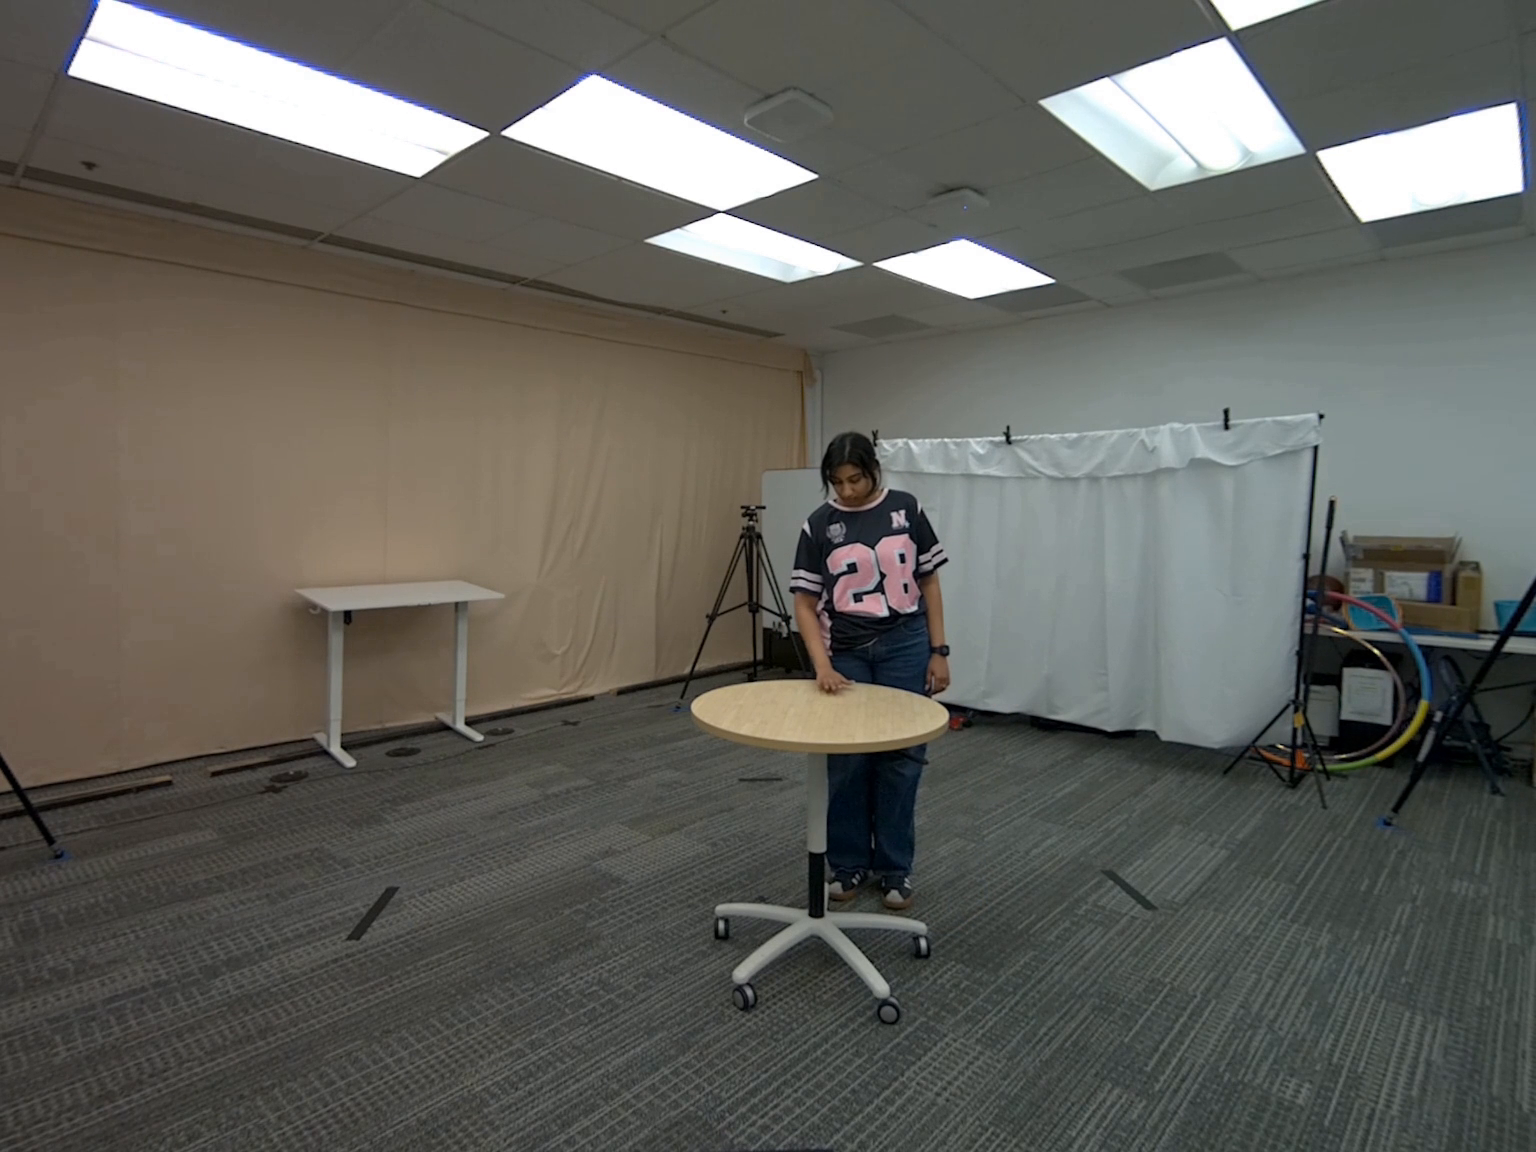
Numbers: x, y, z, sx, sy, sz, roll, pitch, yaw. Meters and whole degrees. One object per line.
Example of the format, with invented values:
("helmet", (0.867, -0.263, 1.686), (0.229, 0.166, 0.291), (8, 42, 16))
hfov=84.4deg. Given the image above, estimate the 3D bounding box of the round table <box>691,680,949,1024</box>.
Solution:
("round table", (0.161, 0.788, 2.551), (0.784, 0.785, 0.788), (0, 4, -2))
